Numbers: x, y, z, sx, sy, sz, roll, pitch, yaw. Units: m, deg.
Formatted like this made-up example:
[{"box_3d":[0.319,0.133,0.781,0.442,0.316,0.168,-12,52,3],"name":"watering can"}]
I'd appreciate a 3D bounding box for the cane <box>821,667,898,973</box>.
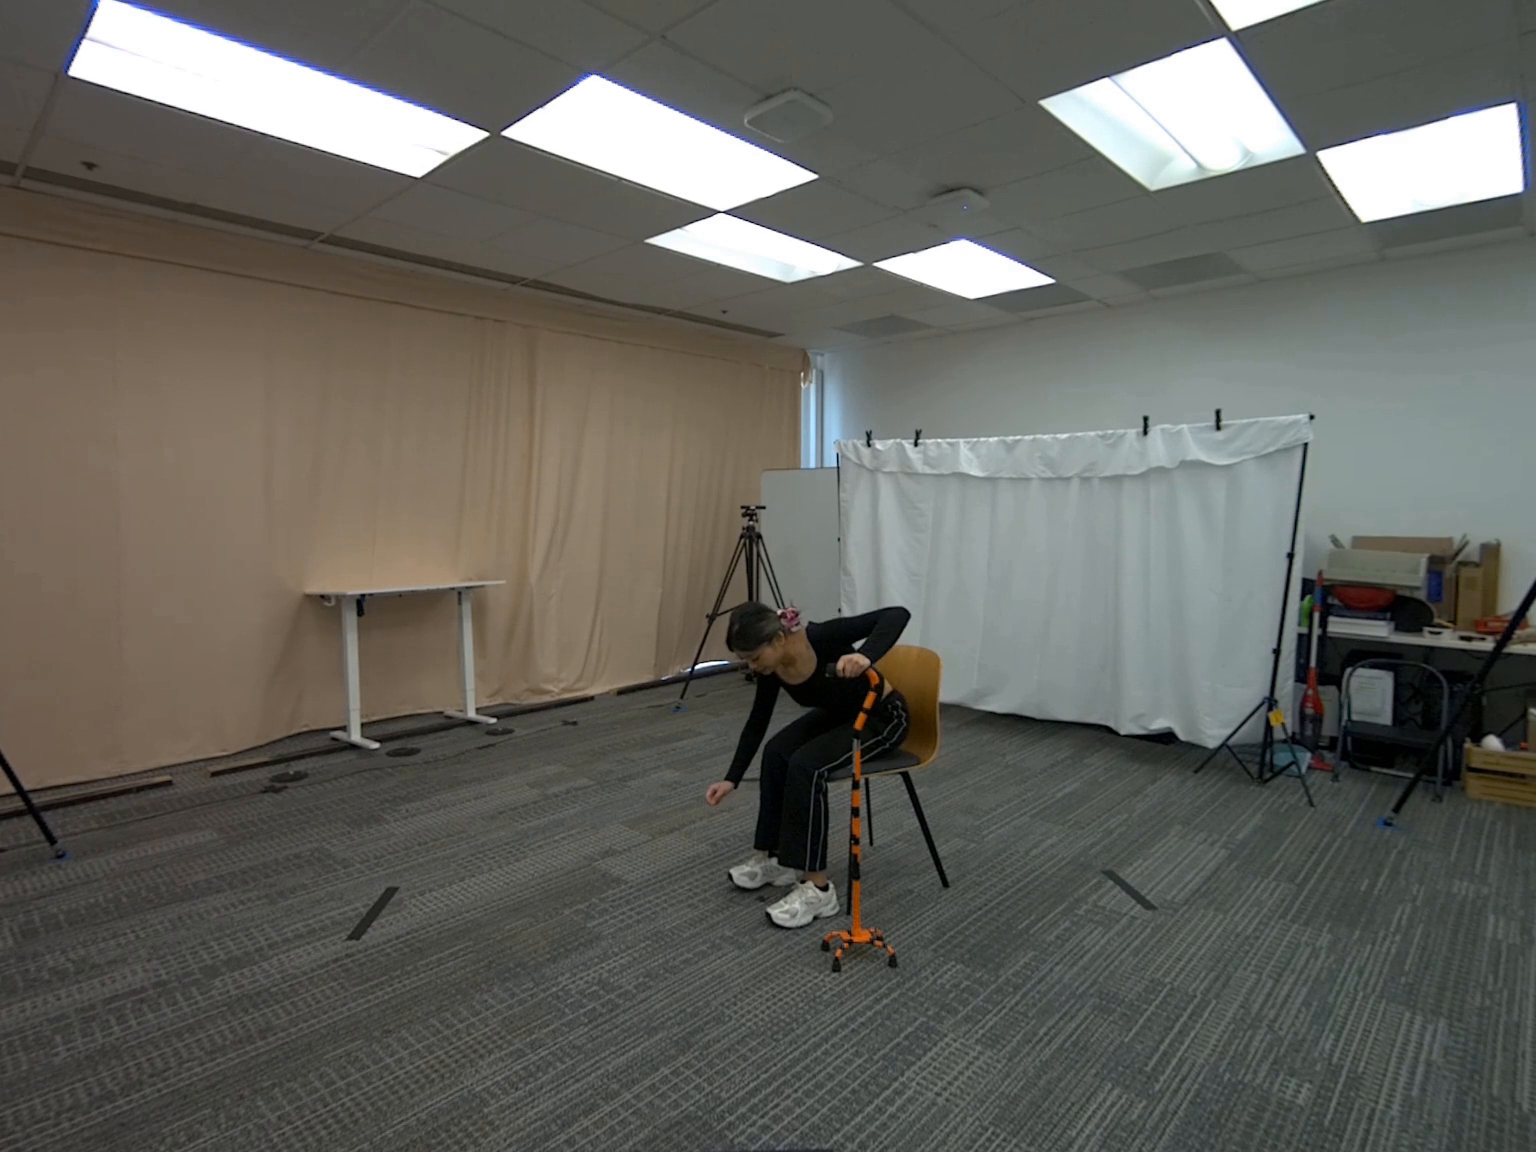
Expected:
[{"box_3d":[0.283,0.721,2.576,0.204,0.906,0.153,-1,3,-9],"name":"cane"}]
